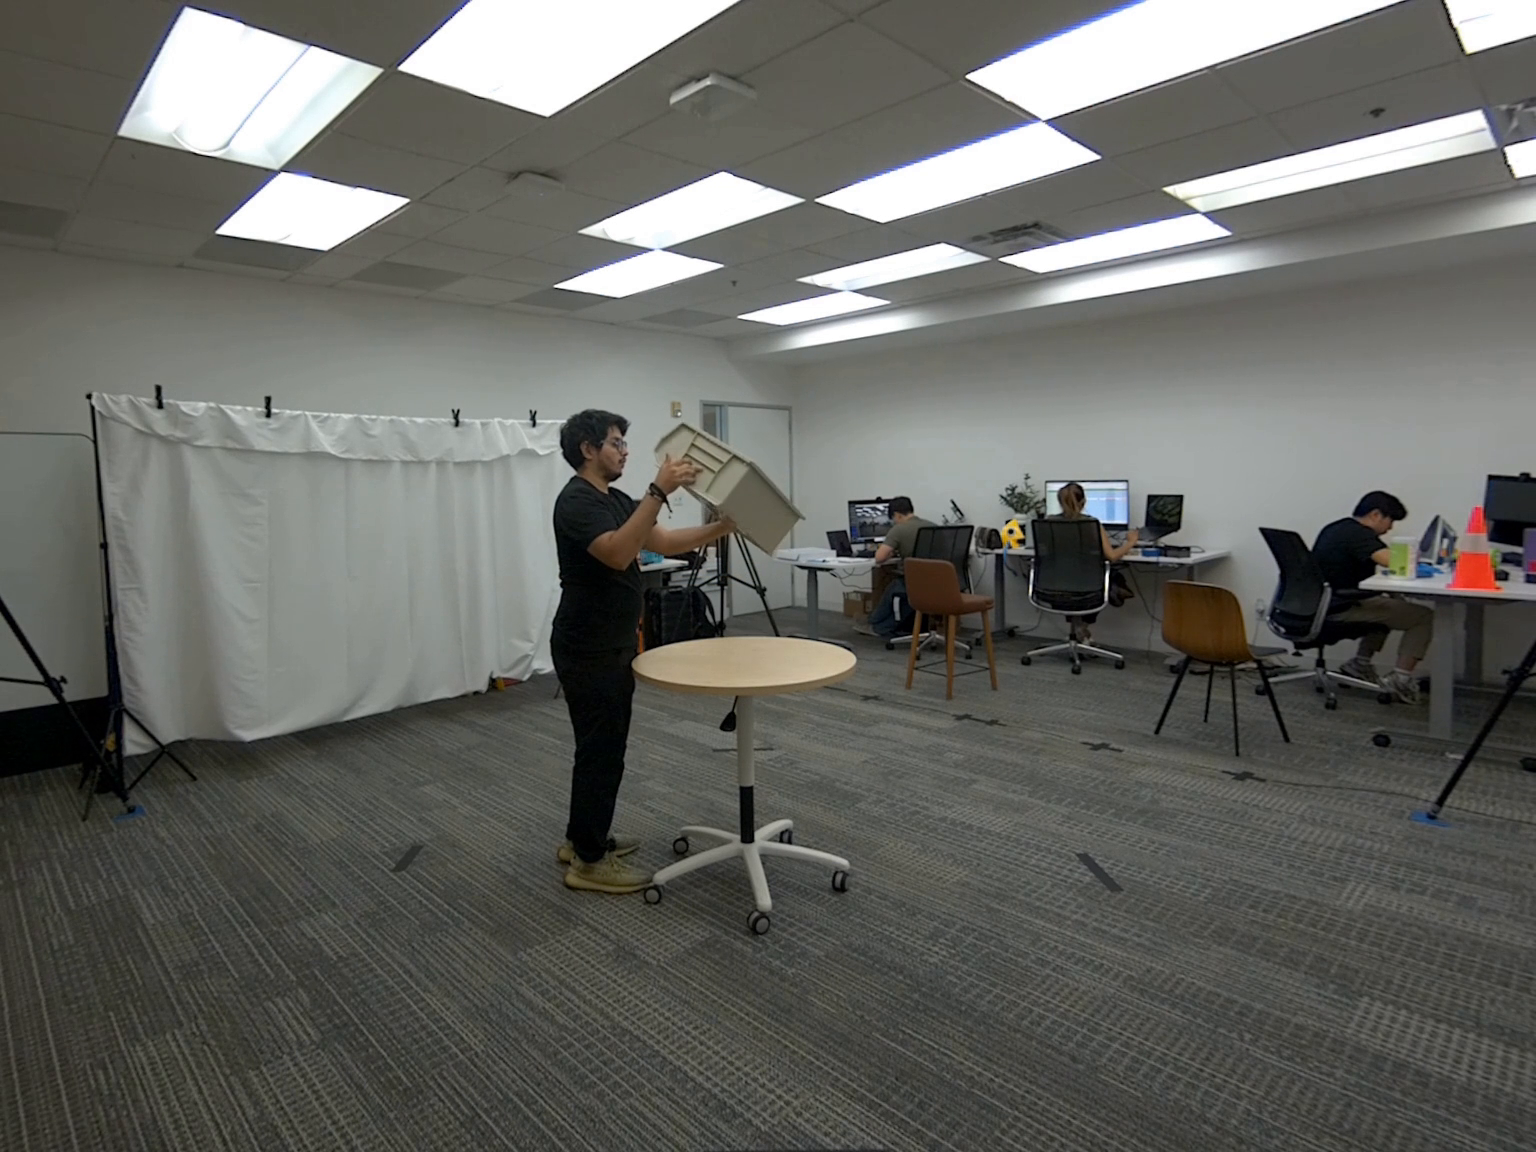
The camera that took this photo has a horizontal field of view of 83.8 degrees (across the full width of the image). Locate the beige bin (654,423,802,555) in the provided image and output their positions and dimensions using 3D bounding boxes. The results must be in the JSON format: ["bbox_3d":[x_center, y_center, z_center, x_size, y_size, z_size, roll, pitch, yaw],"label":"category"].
[{"bbox_3d":[-0.143,-0.292,2.881,0.392,0.189,0.406,37,-3,35],"label":"beige bin"}]
